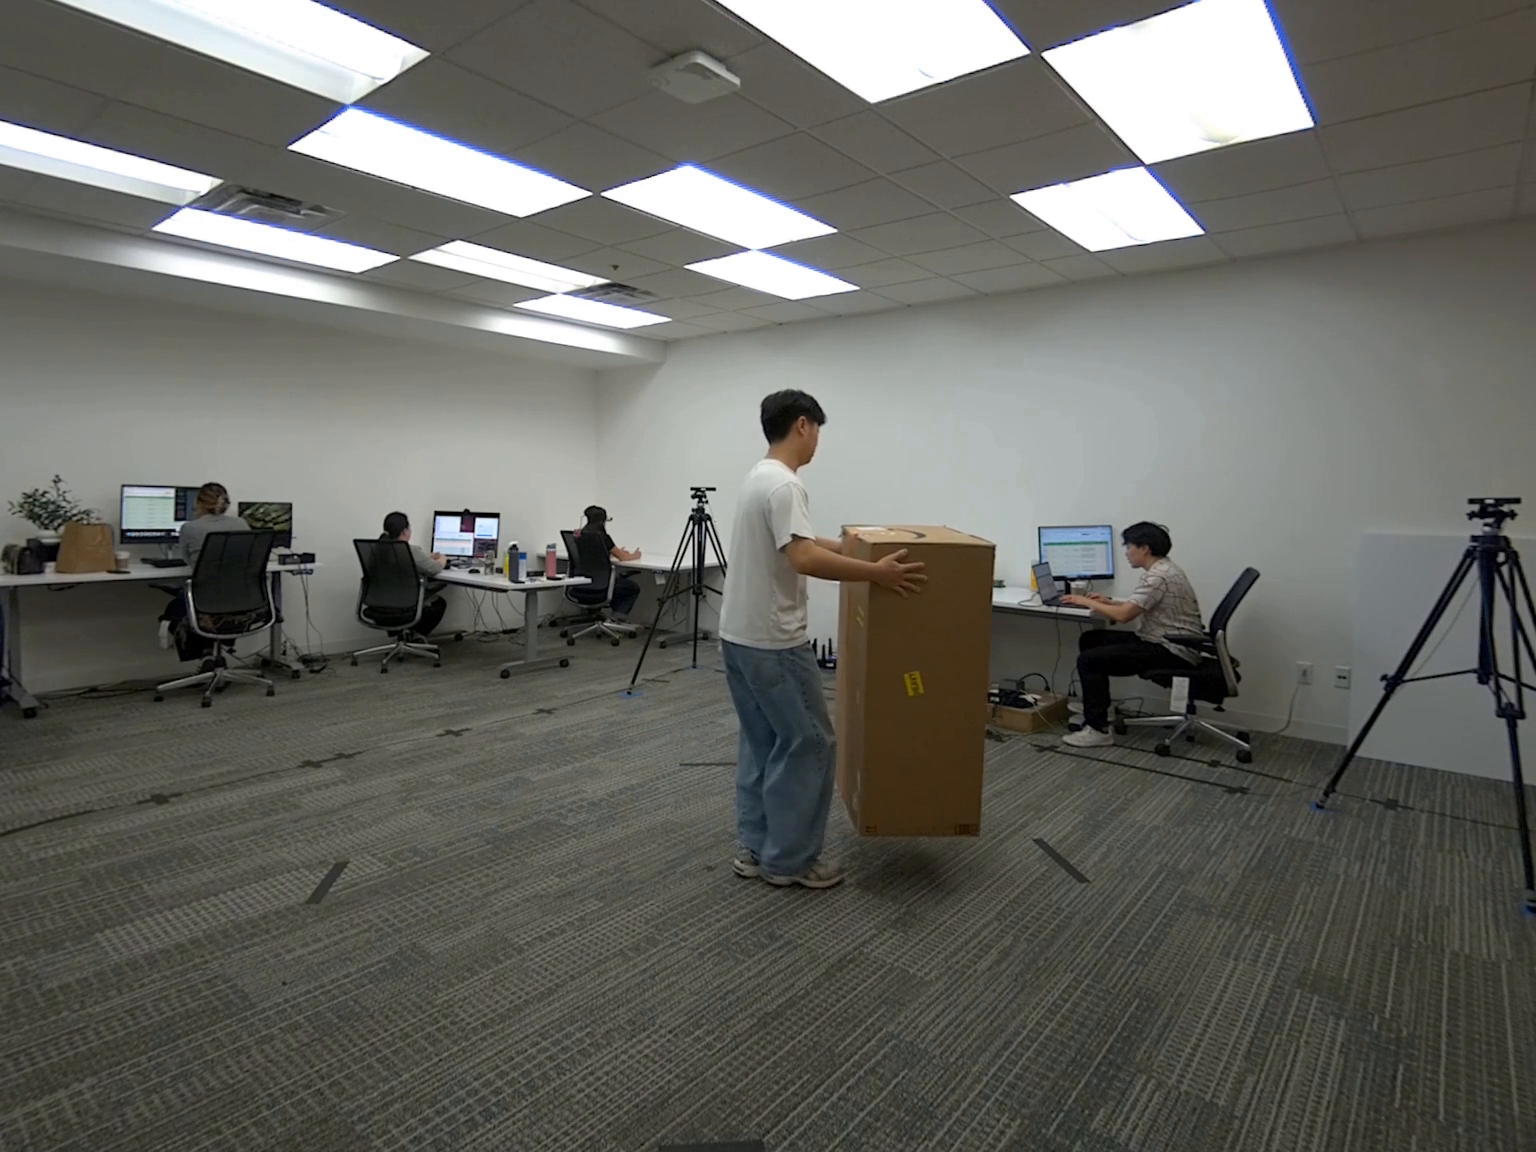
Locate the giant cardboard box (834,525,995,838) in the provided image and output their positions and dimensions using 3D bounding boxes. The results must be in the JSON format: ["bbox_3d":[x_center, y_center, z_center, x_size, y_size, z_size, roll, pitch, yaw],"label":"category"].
[{"bbox_3d":[0.499,0.356,3.155,0.424,1.019,0.584,1,8,-5],"label":"giant cardboard box"}]
